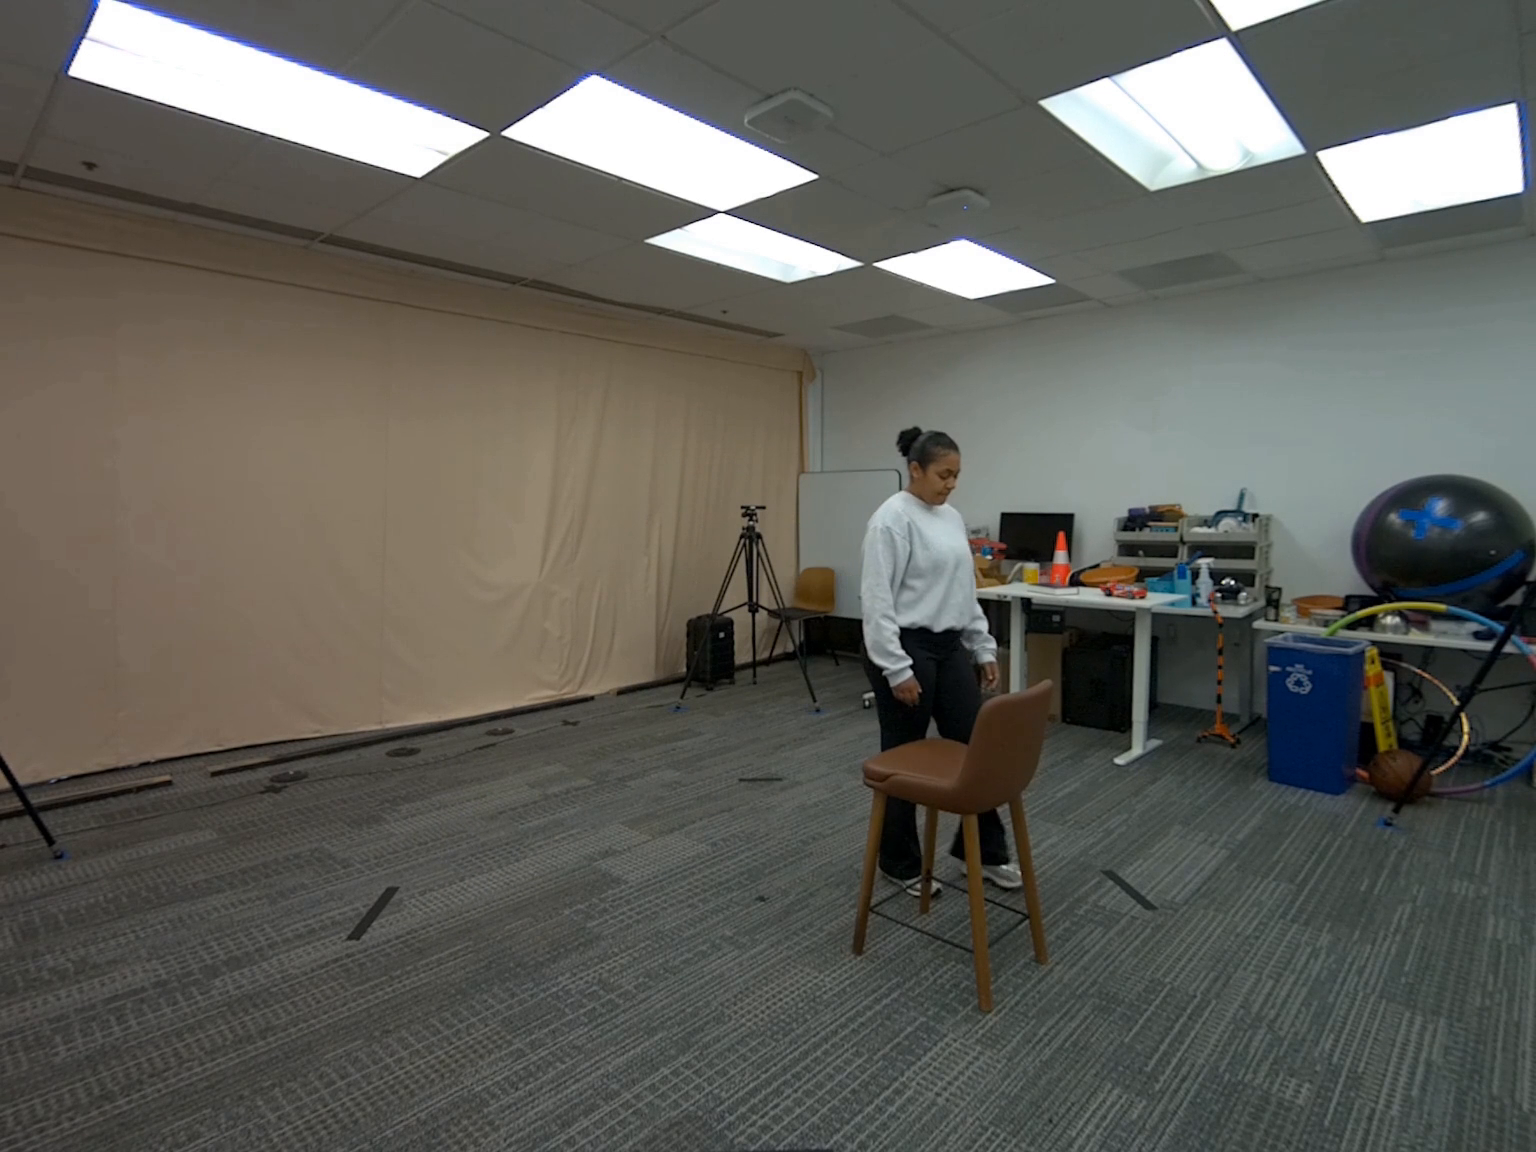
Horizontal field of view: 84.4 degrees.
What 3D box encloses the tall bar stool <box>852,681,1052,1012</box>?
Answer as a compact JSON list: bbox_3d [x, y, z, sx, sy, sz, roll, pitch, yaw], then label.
[{"bbox_3d":[0.566,0.737,2.569,0.484,0.887,0.442,6,7,44],"label":"tall bar stool"}]
